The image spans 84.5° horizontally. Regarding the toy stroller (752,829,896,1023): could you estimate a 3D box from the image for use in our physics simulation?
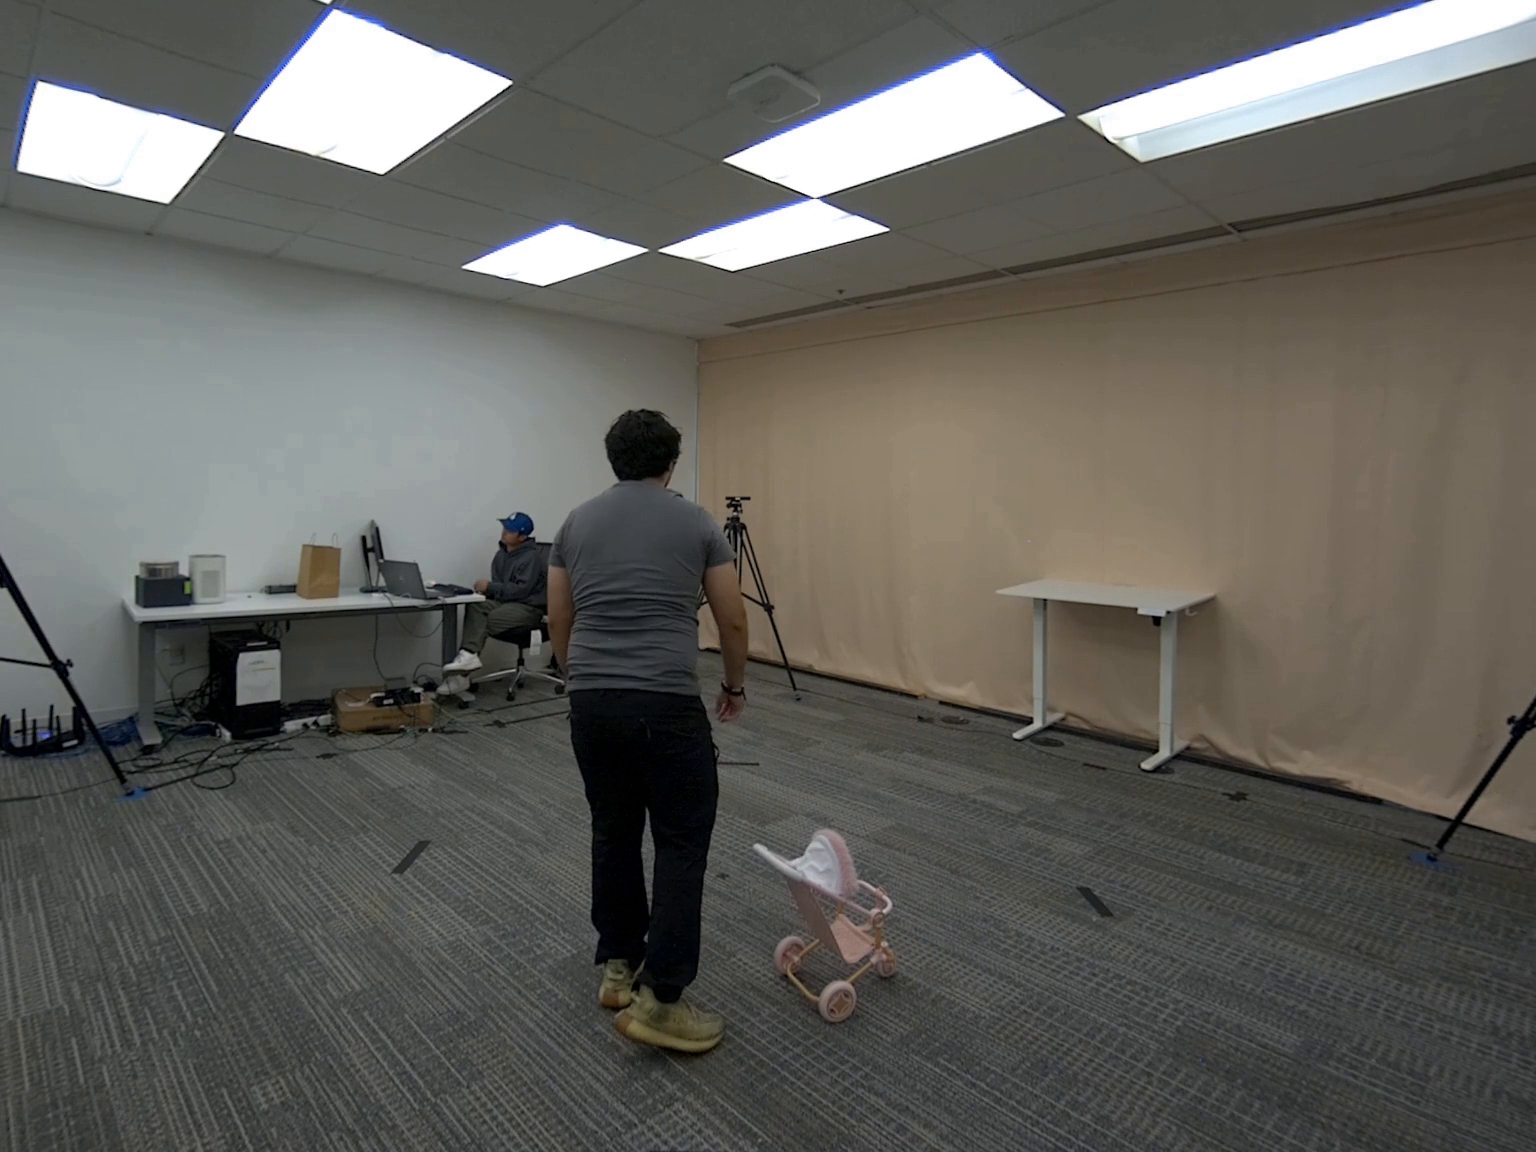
[{"bbox_3d":[0.182,0.955,2.376,0.337,0.530,0.287,-17,10,-23],"label":"toy stroller"}]
